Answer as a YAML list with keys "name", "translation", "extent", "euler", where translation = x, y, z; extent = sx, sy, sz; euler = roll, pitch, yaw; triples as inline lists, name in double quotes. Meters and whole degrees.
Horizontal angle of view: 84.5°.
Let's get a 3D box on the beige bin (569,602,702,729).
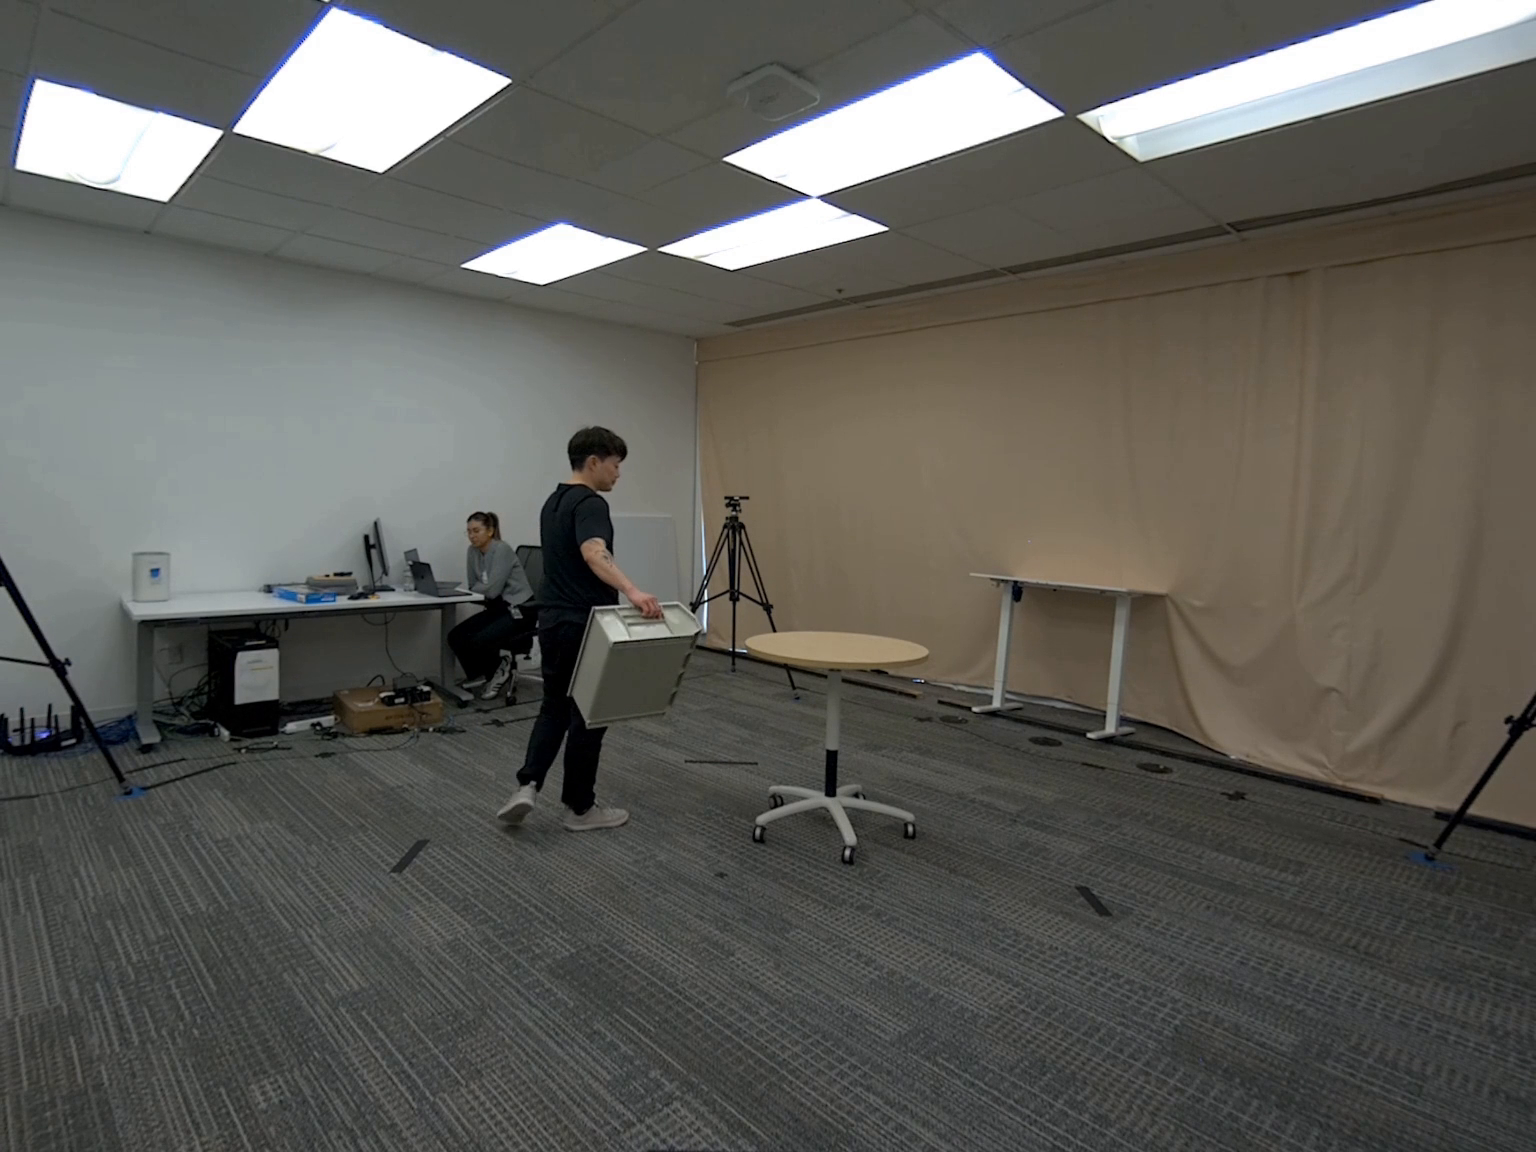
- name: "beige bin"
  translation: [-0.489, 0.317, 3.054]
  extent: [0.369, 0.418, 0.195]
  euler: [-2, 39, -35]
